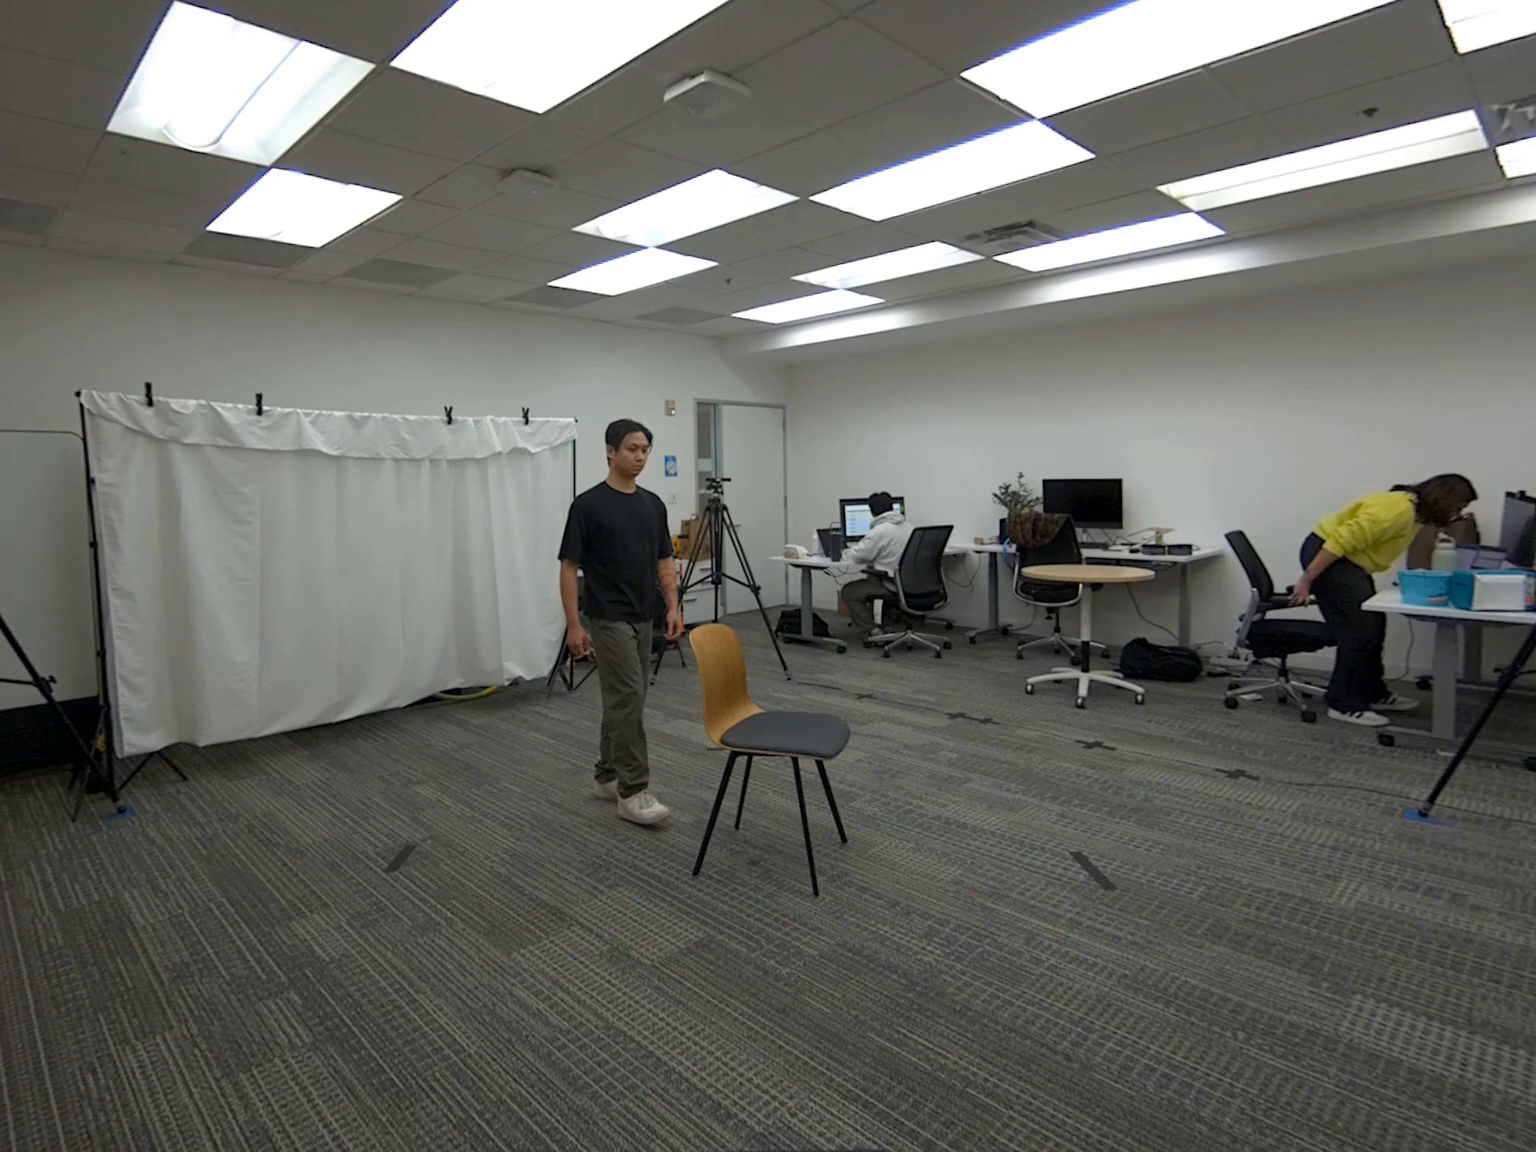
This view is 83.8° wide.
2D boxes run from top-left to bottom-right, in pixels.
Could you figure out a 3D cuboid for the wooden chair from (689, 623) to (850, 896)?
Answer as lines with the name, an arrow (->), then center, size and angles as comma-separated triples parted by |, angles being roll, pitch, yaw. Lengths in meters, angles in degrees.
wooden chair -> 0.021, 0.612, 3.101 | 0.533, 0.875, 0.470 | -4, 3, 20
